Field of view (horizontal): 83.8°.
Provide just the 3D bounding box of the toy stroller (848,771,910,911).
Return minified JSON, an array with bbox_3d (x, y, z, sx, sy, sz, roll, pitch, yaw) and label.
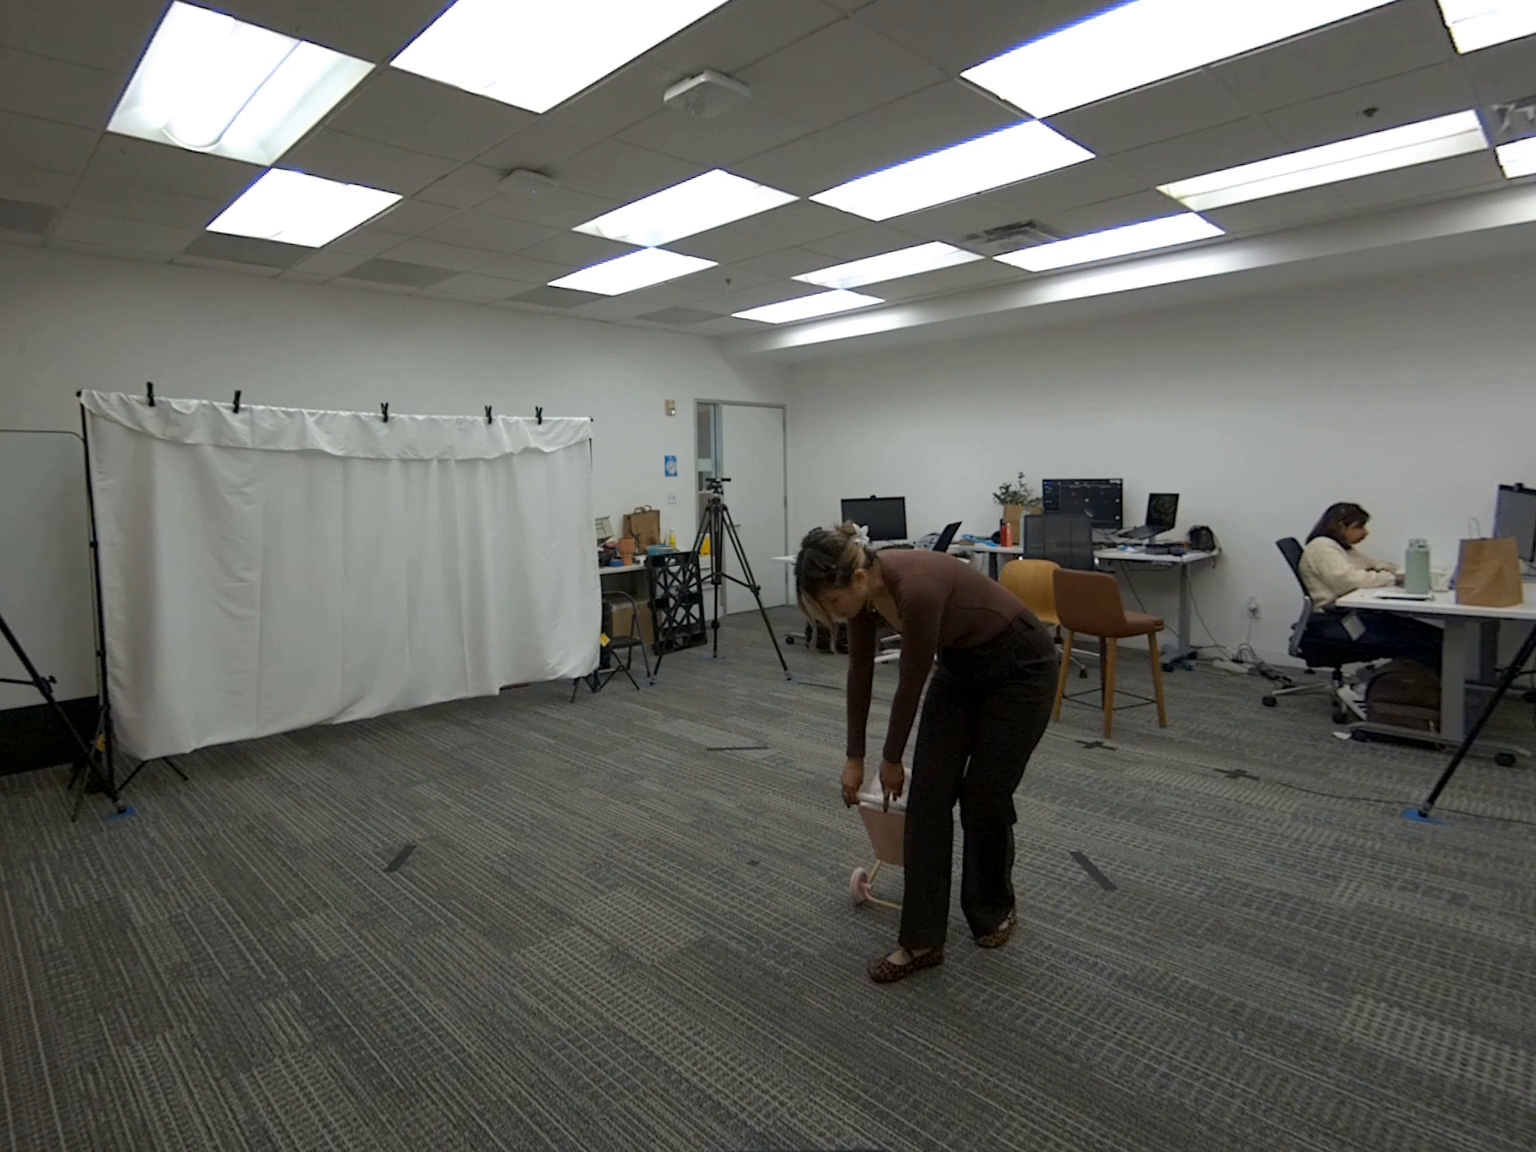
[{"bbox_3d":[0.442,0.849,2.774,0.290,0.525,0.337,3,22,36],"label":"toy stroller"}]
